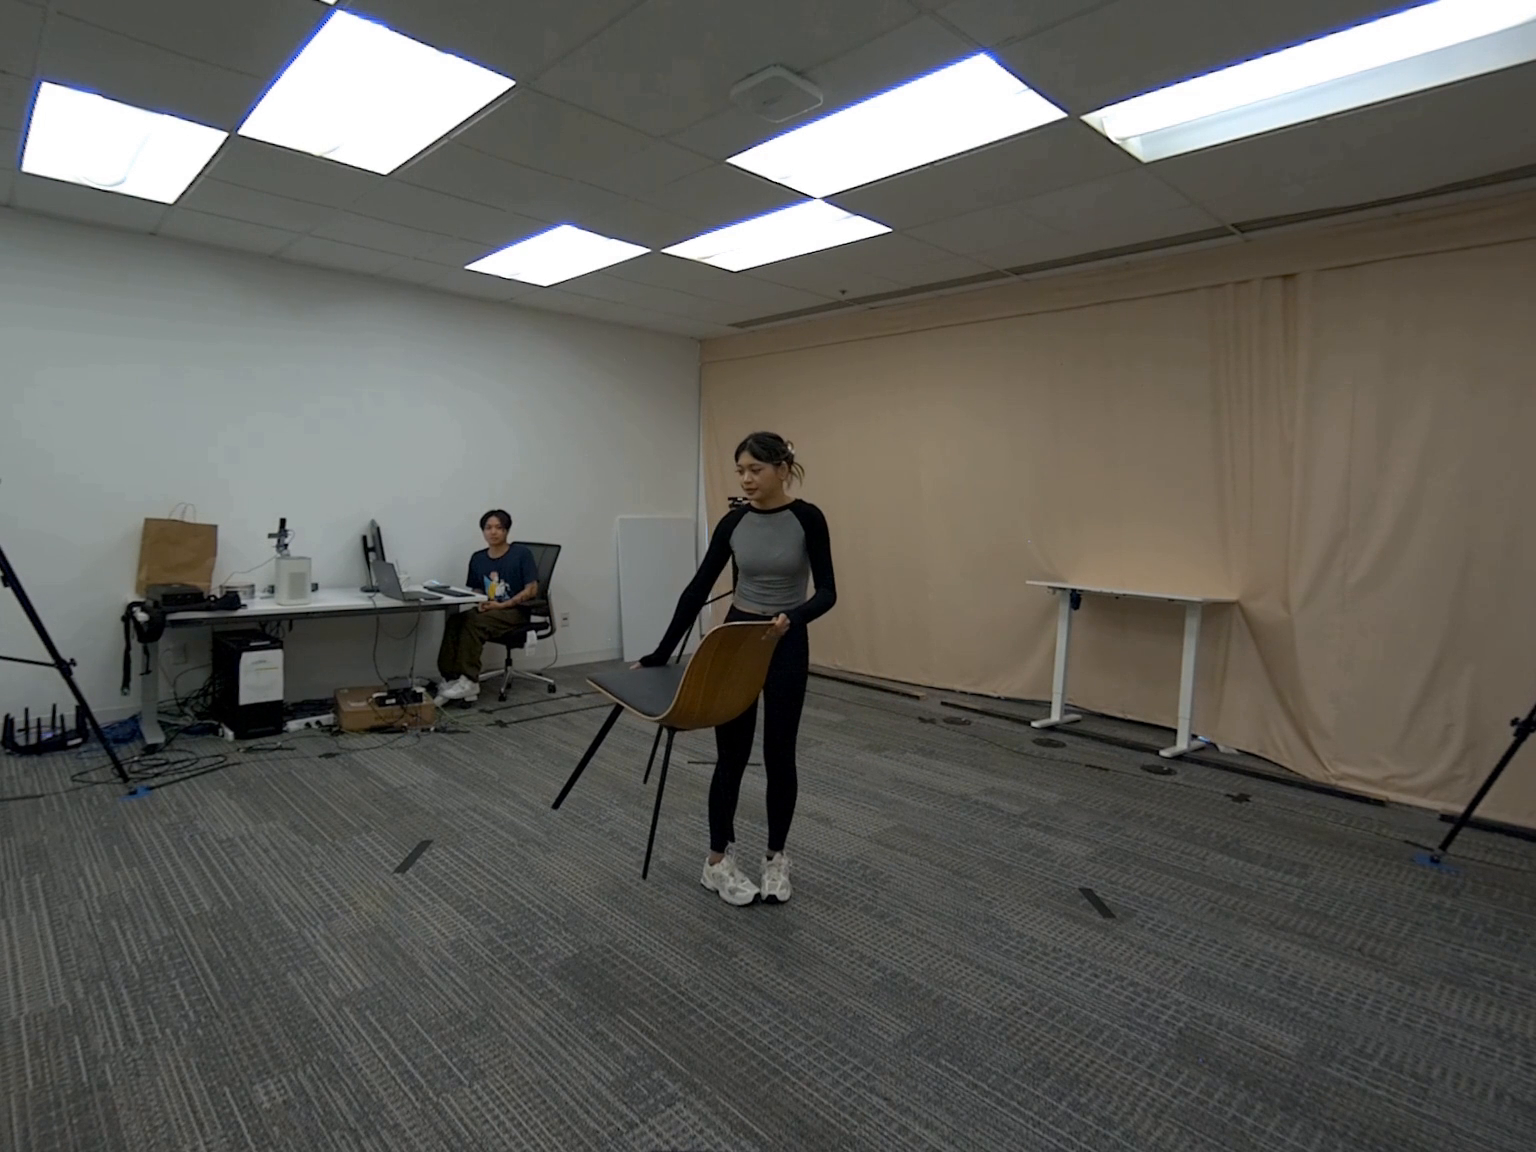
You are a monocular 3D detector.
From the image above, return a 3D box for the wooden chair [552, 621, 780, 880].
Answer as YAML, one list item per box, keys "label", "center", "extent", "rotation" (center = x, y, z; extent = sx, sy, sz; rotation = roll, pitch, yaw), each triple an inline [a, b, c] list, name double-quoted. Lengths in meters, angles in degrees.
- label: "wooden chair"
  center: [-0.335, 0.452, 2.791]
  extent: [0.538, 0.872, 0.467]
  rotation: [26, 14, 34]
